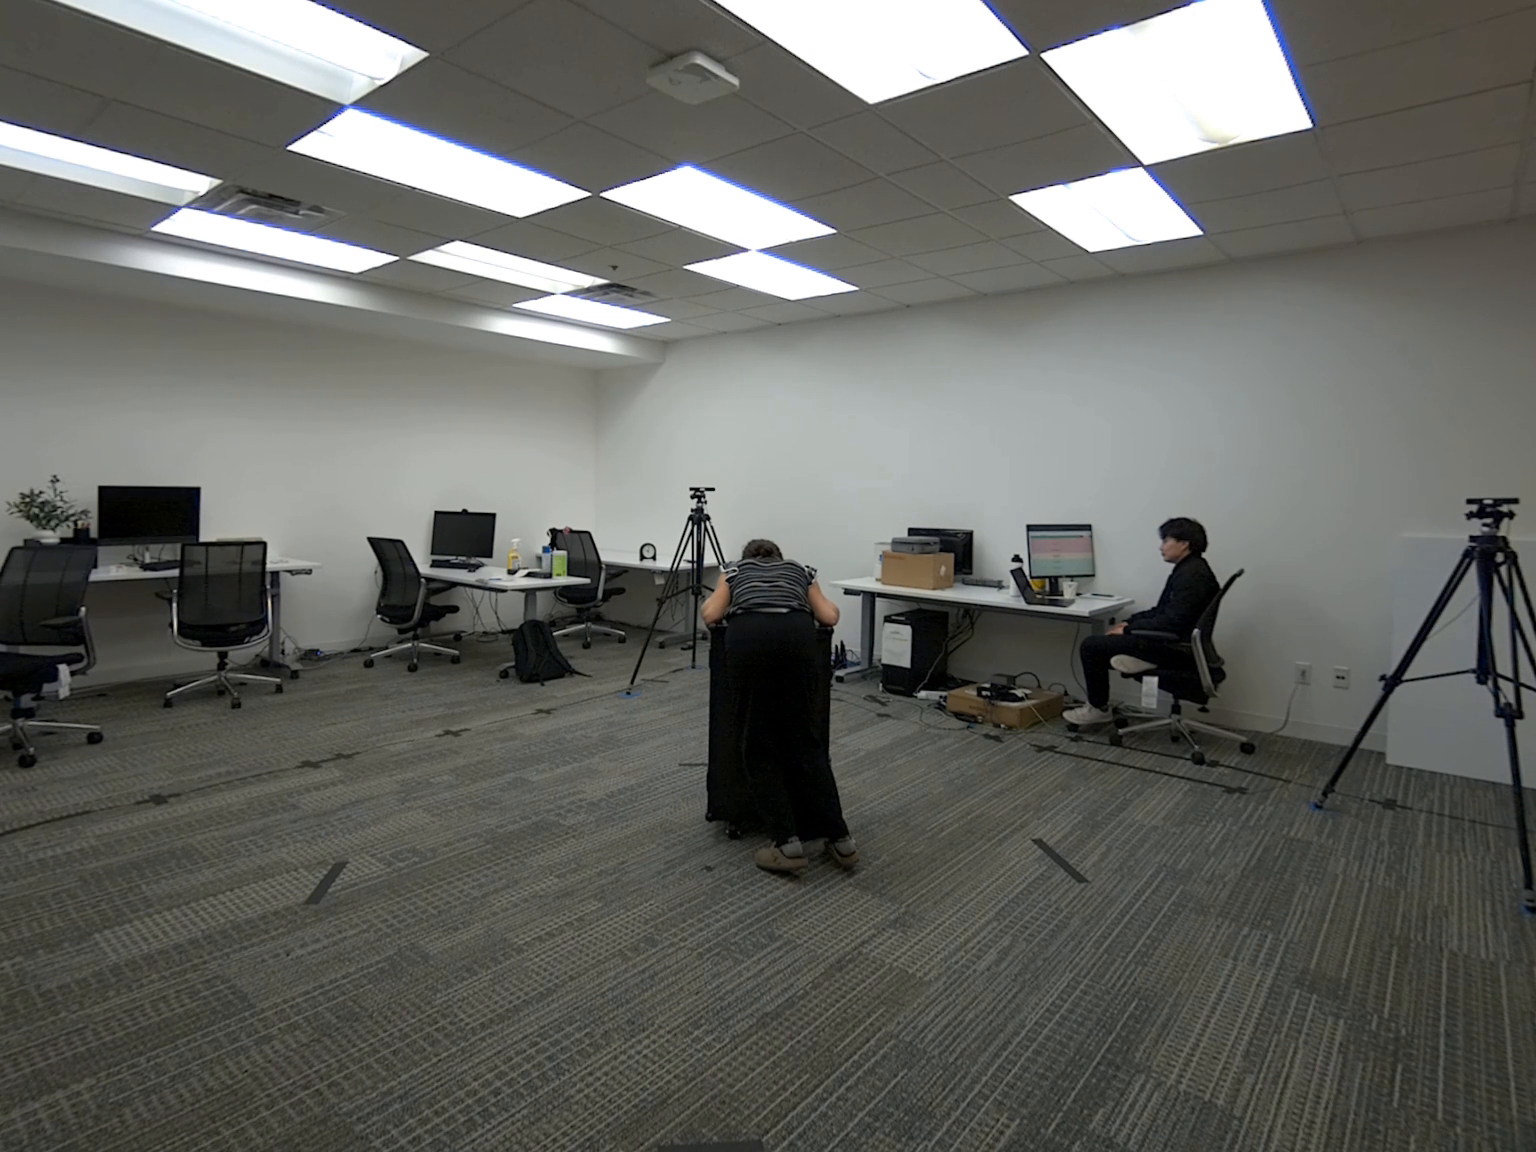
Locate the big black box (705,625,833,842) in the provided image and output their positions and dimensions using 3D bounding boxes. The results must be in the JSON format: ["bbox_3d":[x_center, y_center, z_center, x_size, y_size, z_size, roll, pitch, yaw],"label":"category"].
[{"bbox_3d":[-0.020,0.612,3.543,0.522,0.860,0.396,1,1,0],"label":"big black box"}]
